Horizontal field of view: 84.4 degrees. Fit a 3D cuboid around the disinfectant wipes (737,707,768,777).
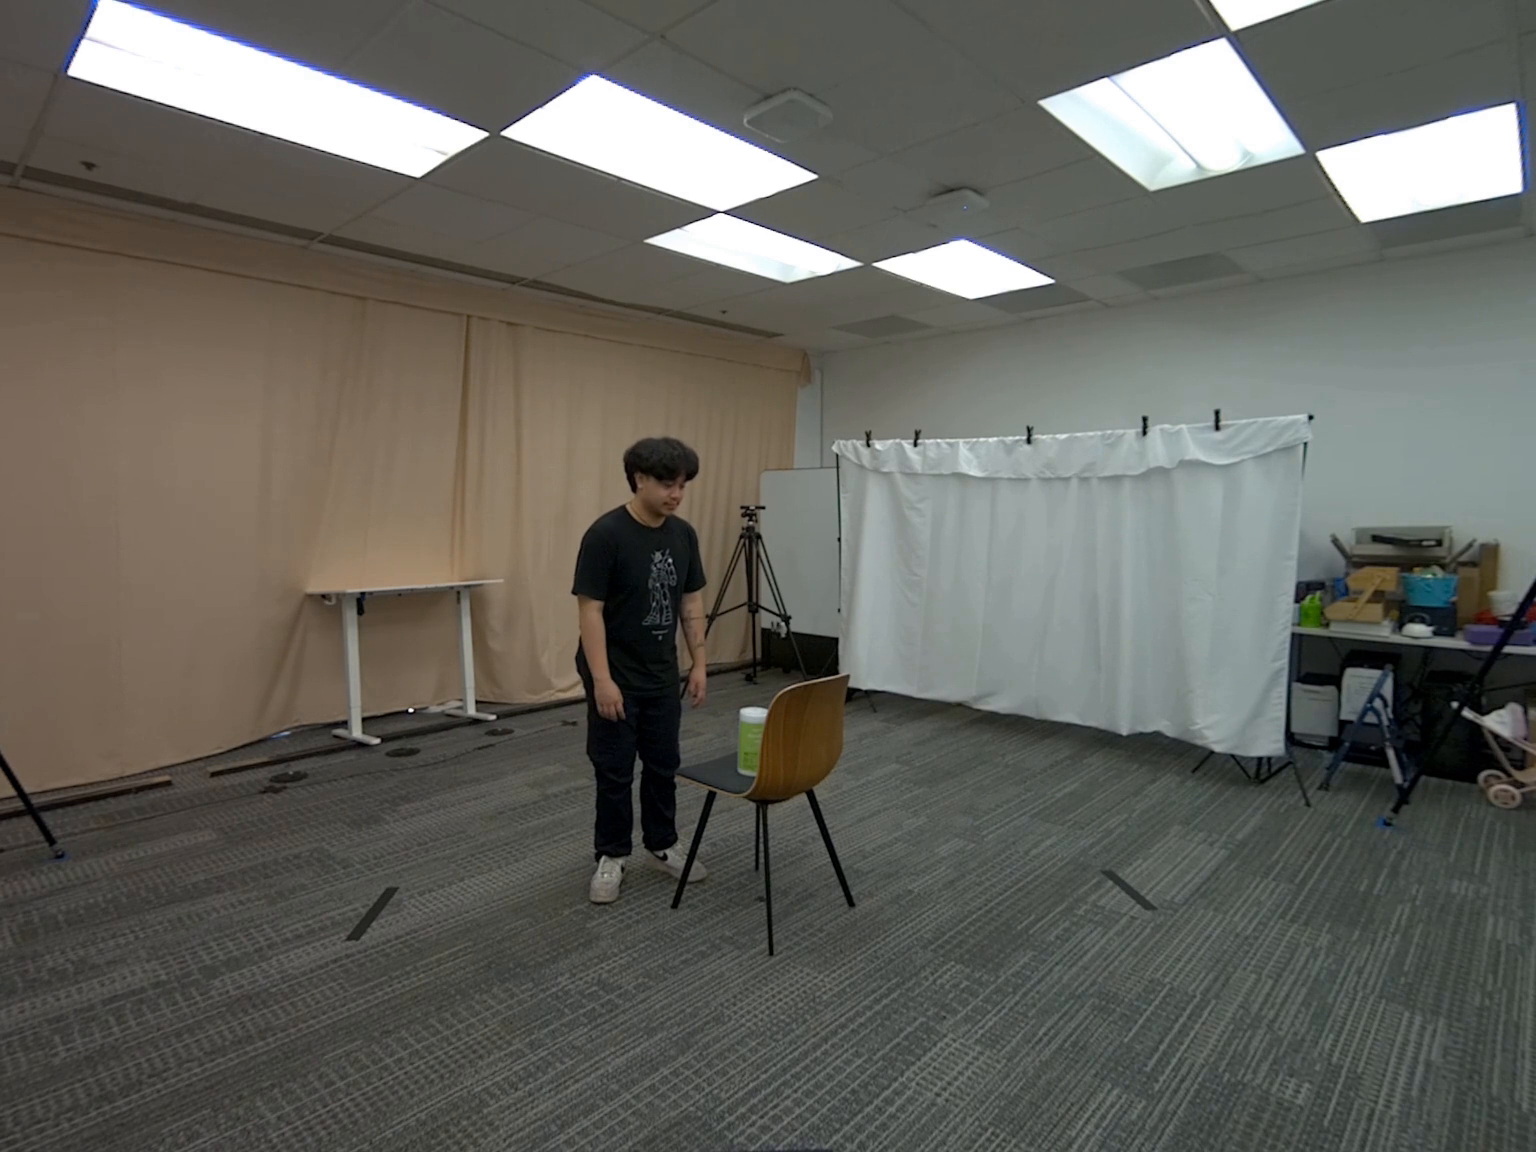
[{"bbox_3d":[-0.044,0.574,2.897,0.117,0.217,0.118,2,6,-2],"label":"disinfectant wipes"}]
